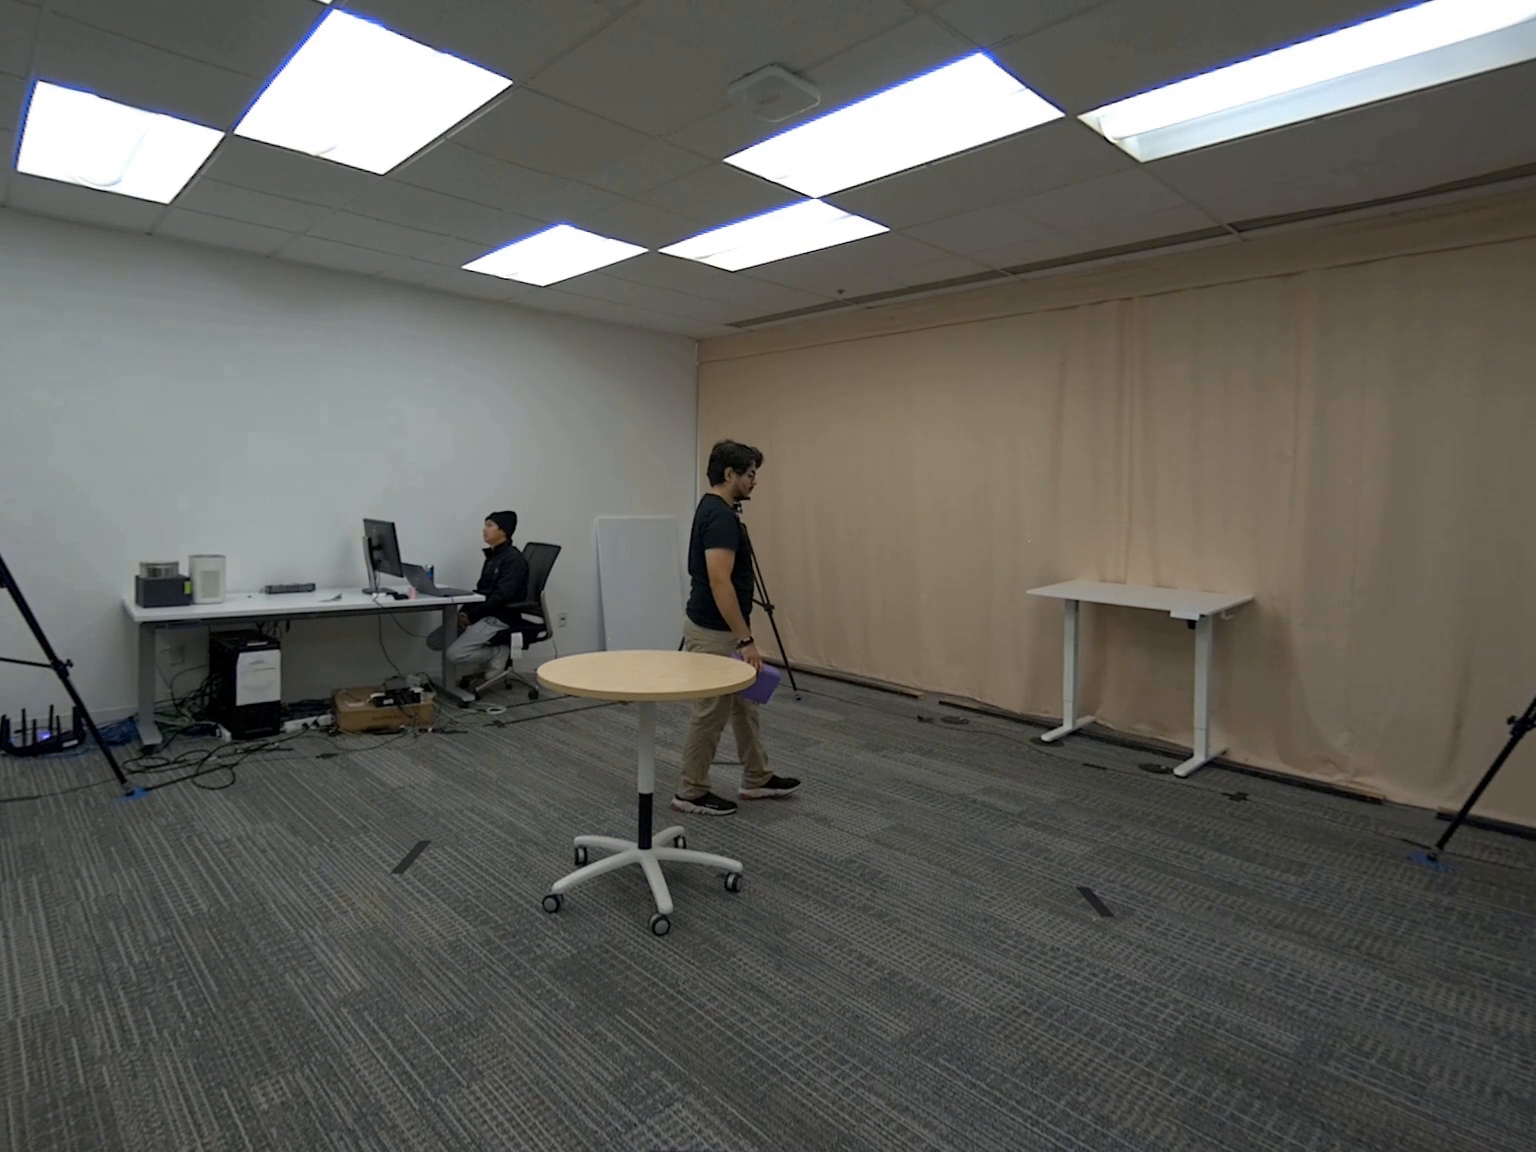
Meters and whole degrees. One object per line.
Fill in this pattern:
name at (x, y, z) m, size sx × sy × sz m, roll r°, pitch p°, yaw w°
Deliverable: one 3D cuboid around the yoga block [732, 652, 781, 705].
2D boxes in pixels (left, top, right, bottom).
yoga block at (-0.087, 0.427, 3.505) m, size 0.225 × 0.148 × 0.078 m, roll 24°, pitch 13°, yaw -17°
